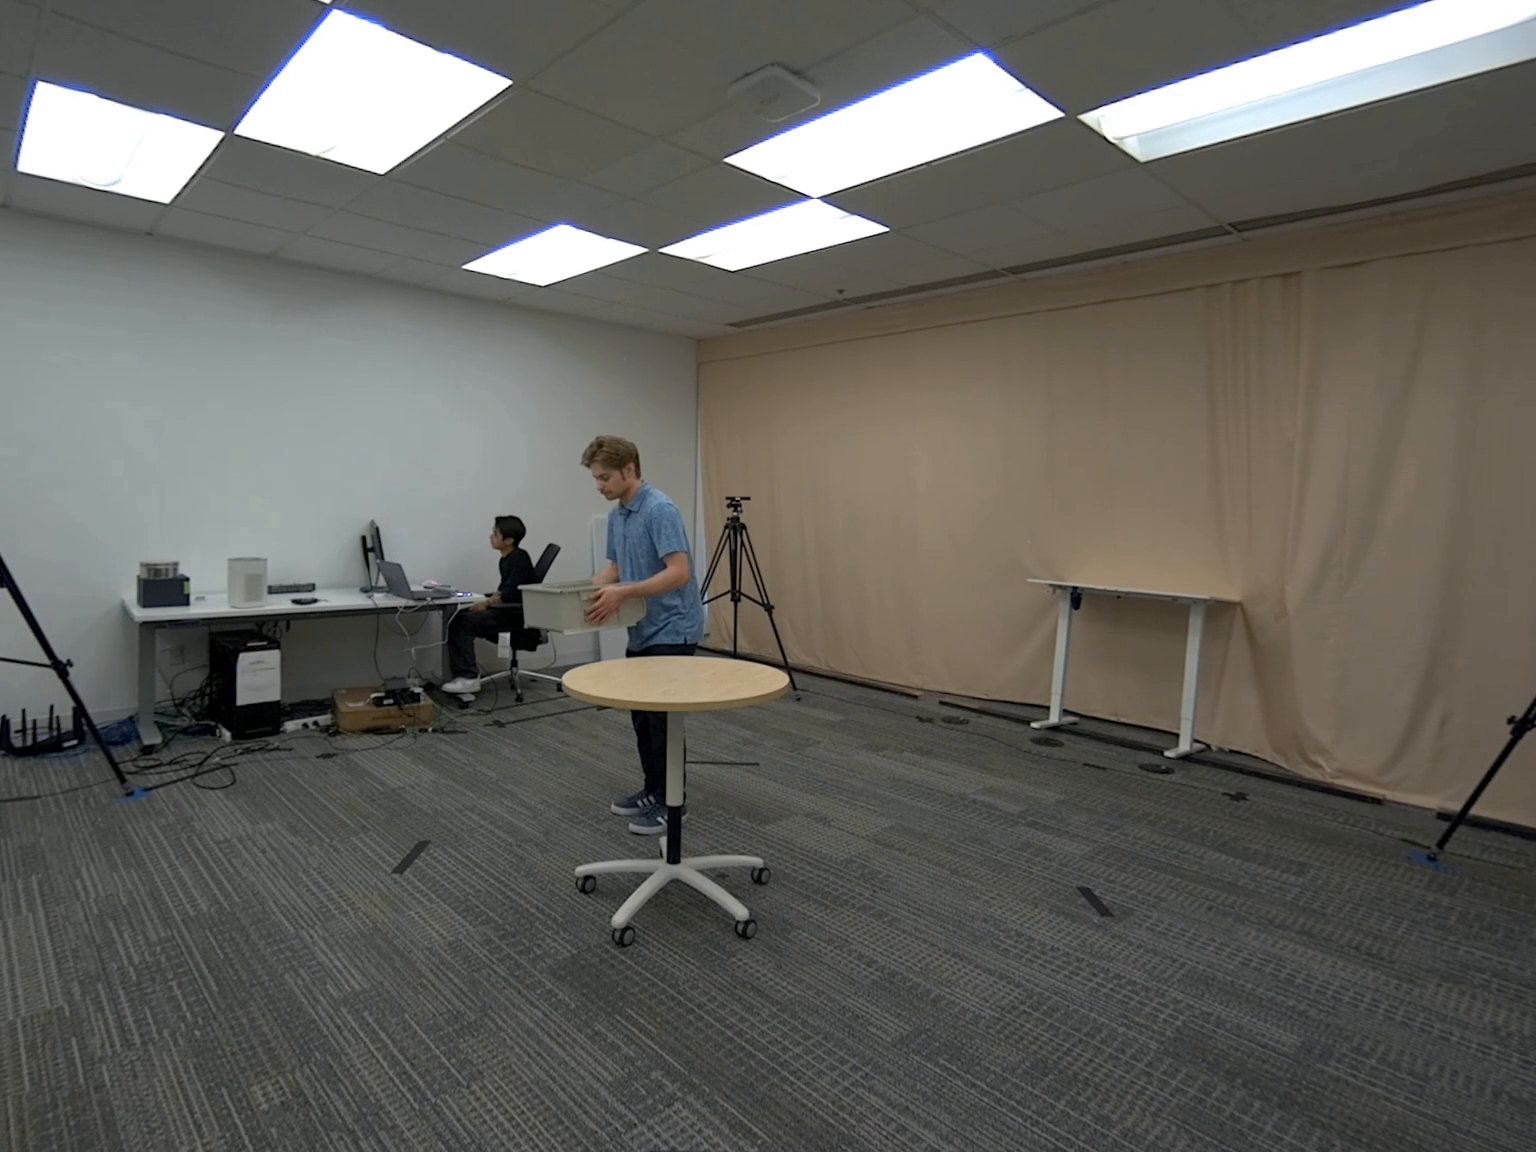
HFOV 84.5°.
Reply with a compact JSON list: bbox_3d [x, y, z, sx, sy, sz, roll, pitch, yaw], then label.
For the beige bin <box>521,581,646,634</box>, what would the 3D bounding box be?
[{"bbox_3d":[-0.777,0.125,3.499,0.370,0.188,0.432,-8,7,-38],"label":"beige bin"}]
